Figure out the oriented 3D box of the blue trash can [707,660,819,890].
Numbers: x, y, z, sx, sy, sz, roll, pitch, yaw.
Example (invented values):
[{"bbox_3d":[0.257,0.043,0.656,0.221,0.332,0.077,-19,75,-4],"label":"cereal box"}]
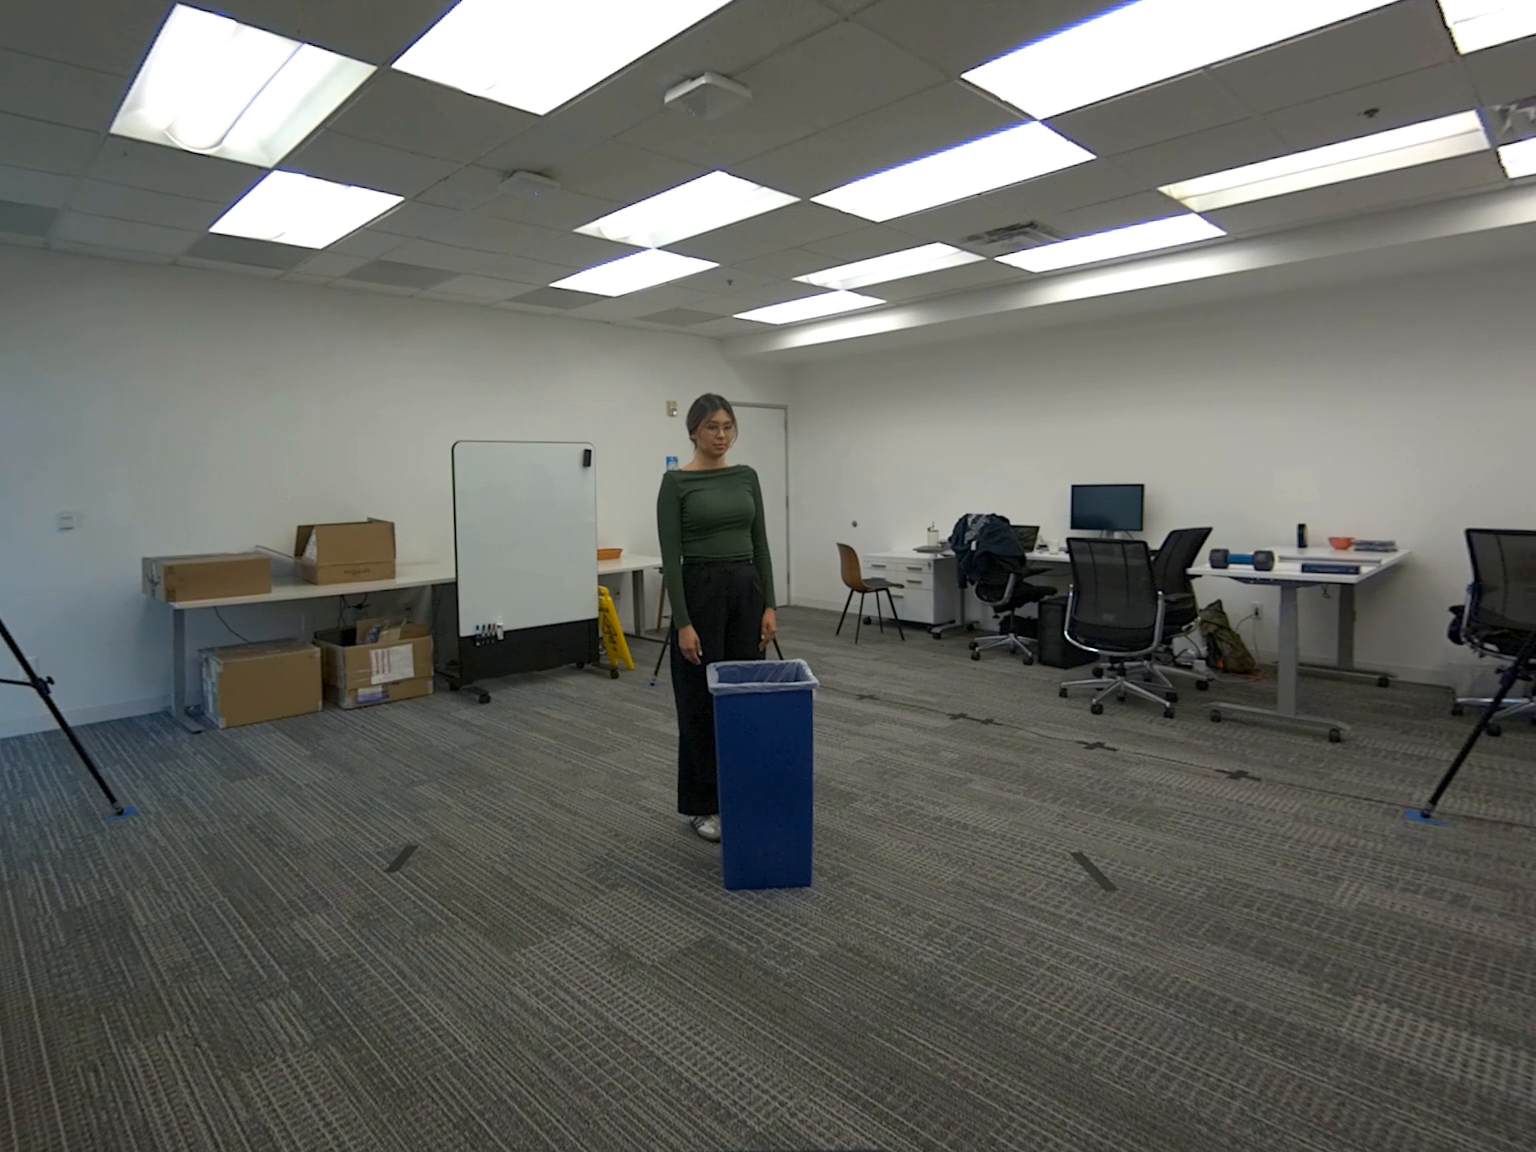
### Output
[{"bbox_3d":[-0.015,0.695,3.033,0.377,0.712,0.376,-2,3,-4],"label":"blue trash can"}]
